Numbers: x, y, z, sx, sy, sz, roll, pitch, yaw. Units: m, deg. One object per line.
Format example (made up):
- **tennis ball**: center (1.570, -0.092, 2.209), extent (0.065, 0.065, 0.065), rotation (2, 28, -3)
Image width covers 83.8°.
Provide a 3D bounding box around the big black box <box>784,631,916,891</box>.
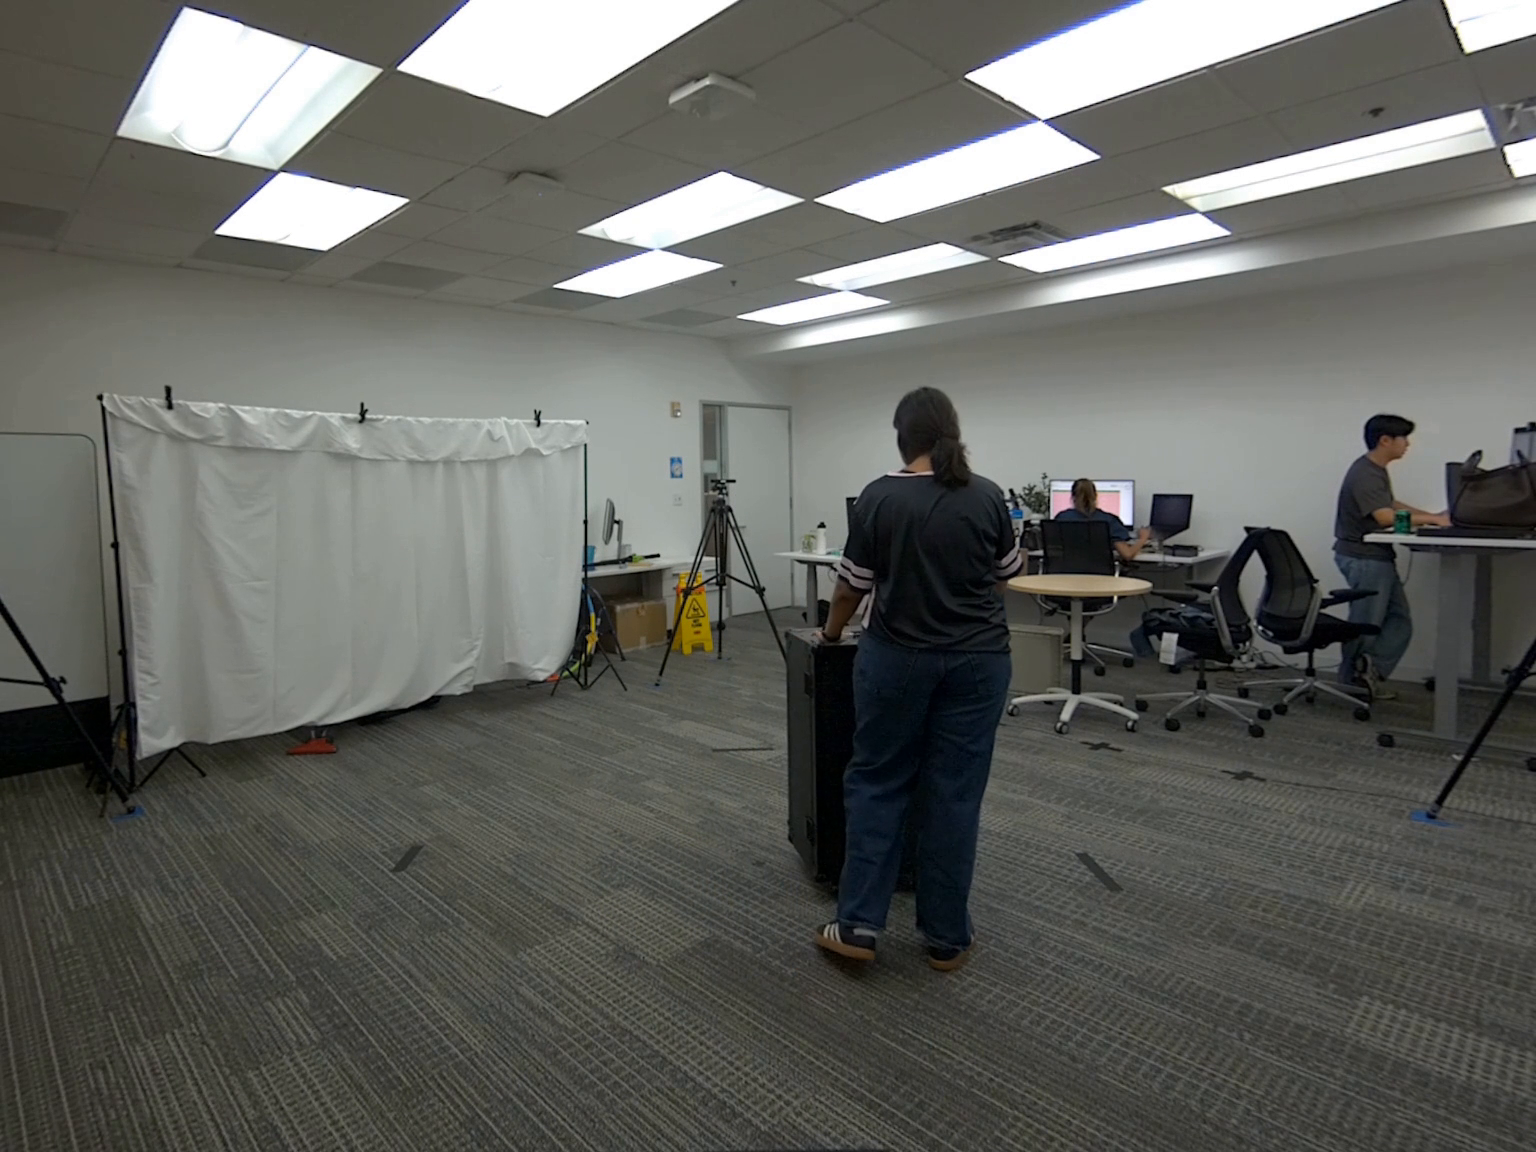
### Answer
- **big black box**: center (0.342, 0.626, 3.000), extent (0.517, 0.866, 0.391), rotation (-1, 3, -12)
